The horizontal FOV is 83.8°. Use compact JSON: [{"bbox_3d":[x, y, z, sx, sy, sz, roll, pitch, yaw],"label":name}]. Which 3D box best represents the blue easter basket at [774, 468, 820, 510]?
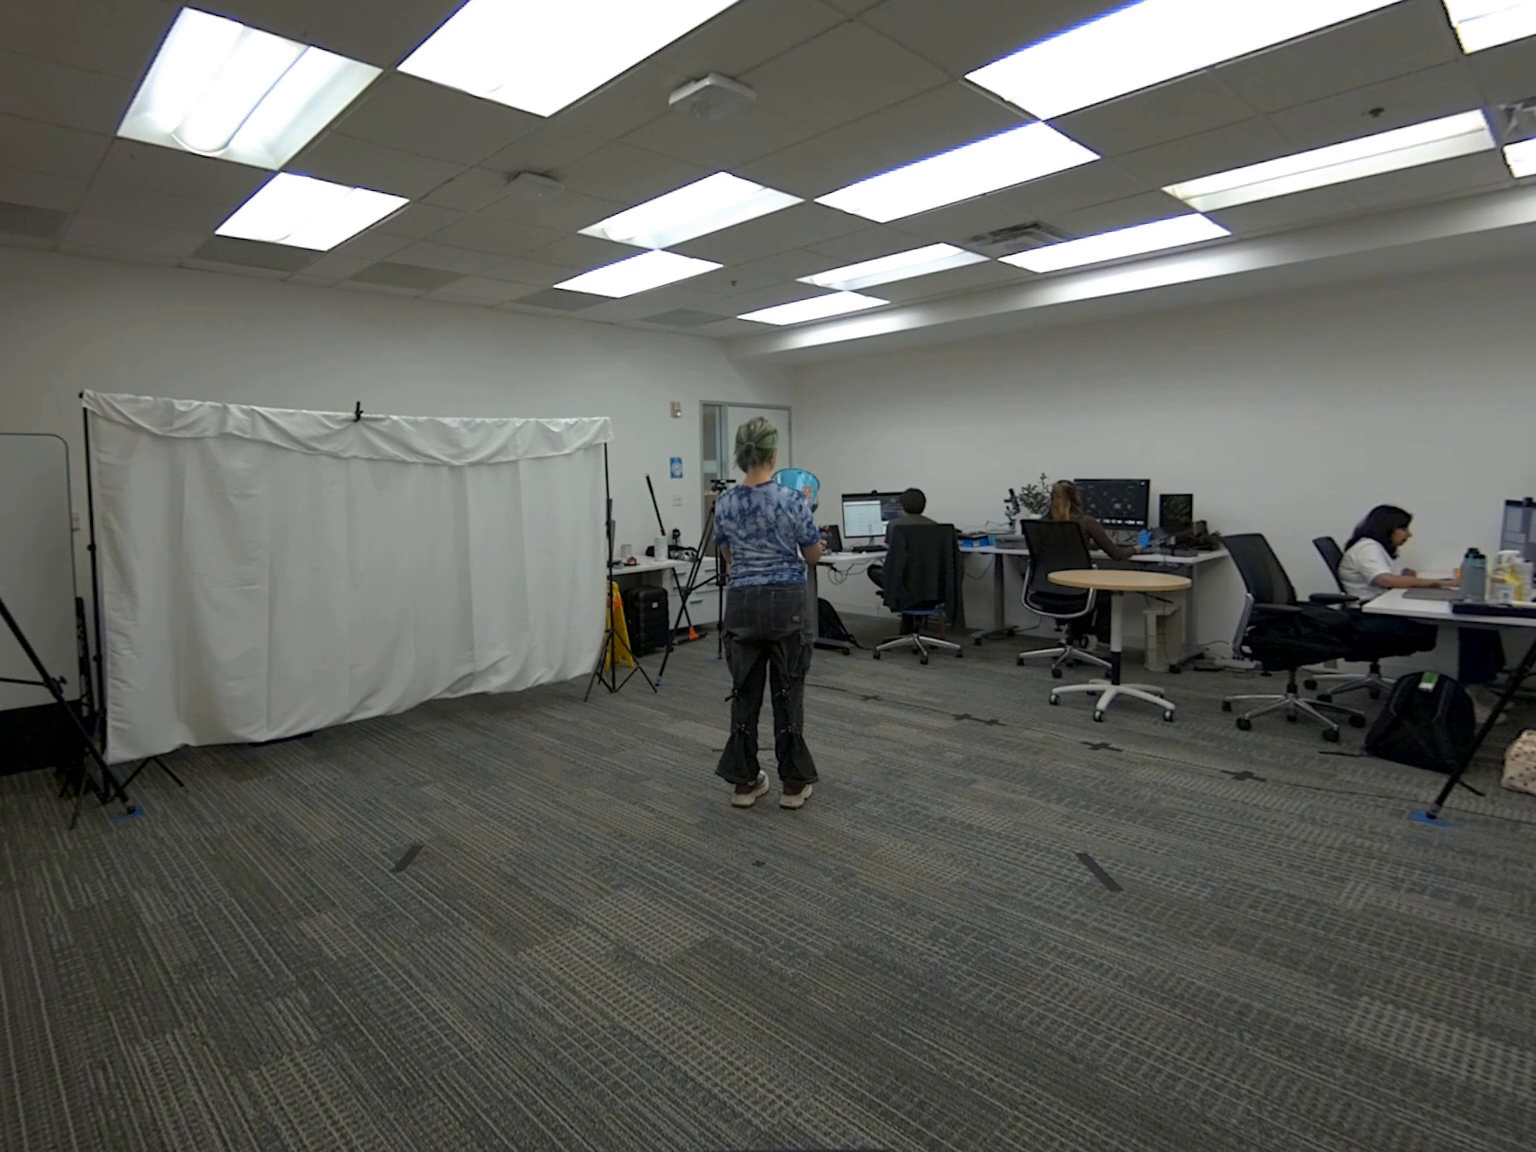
[{"bbox_3d":[0.122,-0.391,3.974,0.244,0.159,0.238,7,-31,3],"label":"blue easter basket"}]
